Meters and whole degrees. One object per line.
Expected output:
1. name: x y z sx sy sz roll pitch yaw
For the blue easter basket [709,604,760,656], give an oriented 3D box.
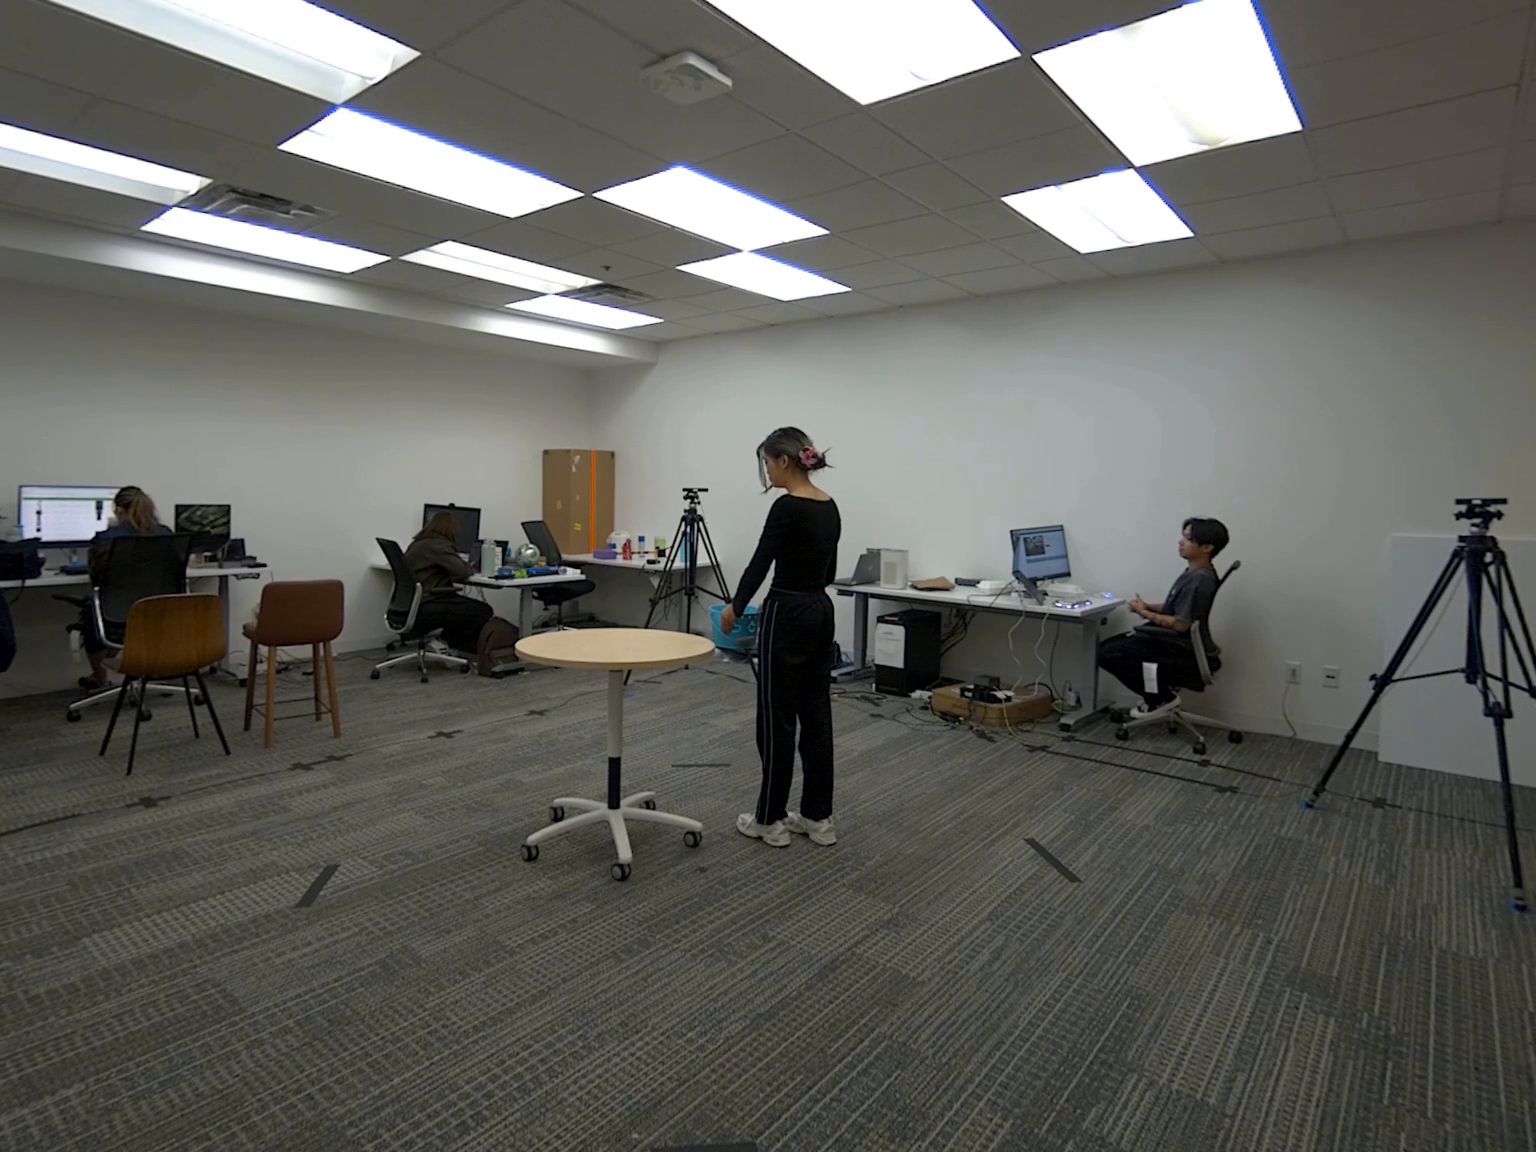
1. blue easter basket: -0.136 0.215 3.634 0.243 0.155 0.245 2 5 -2
